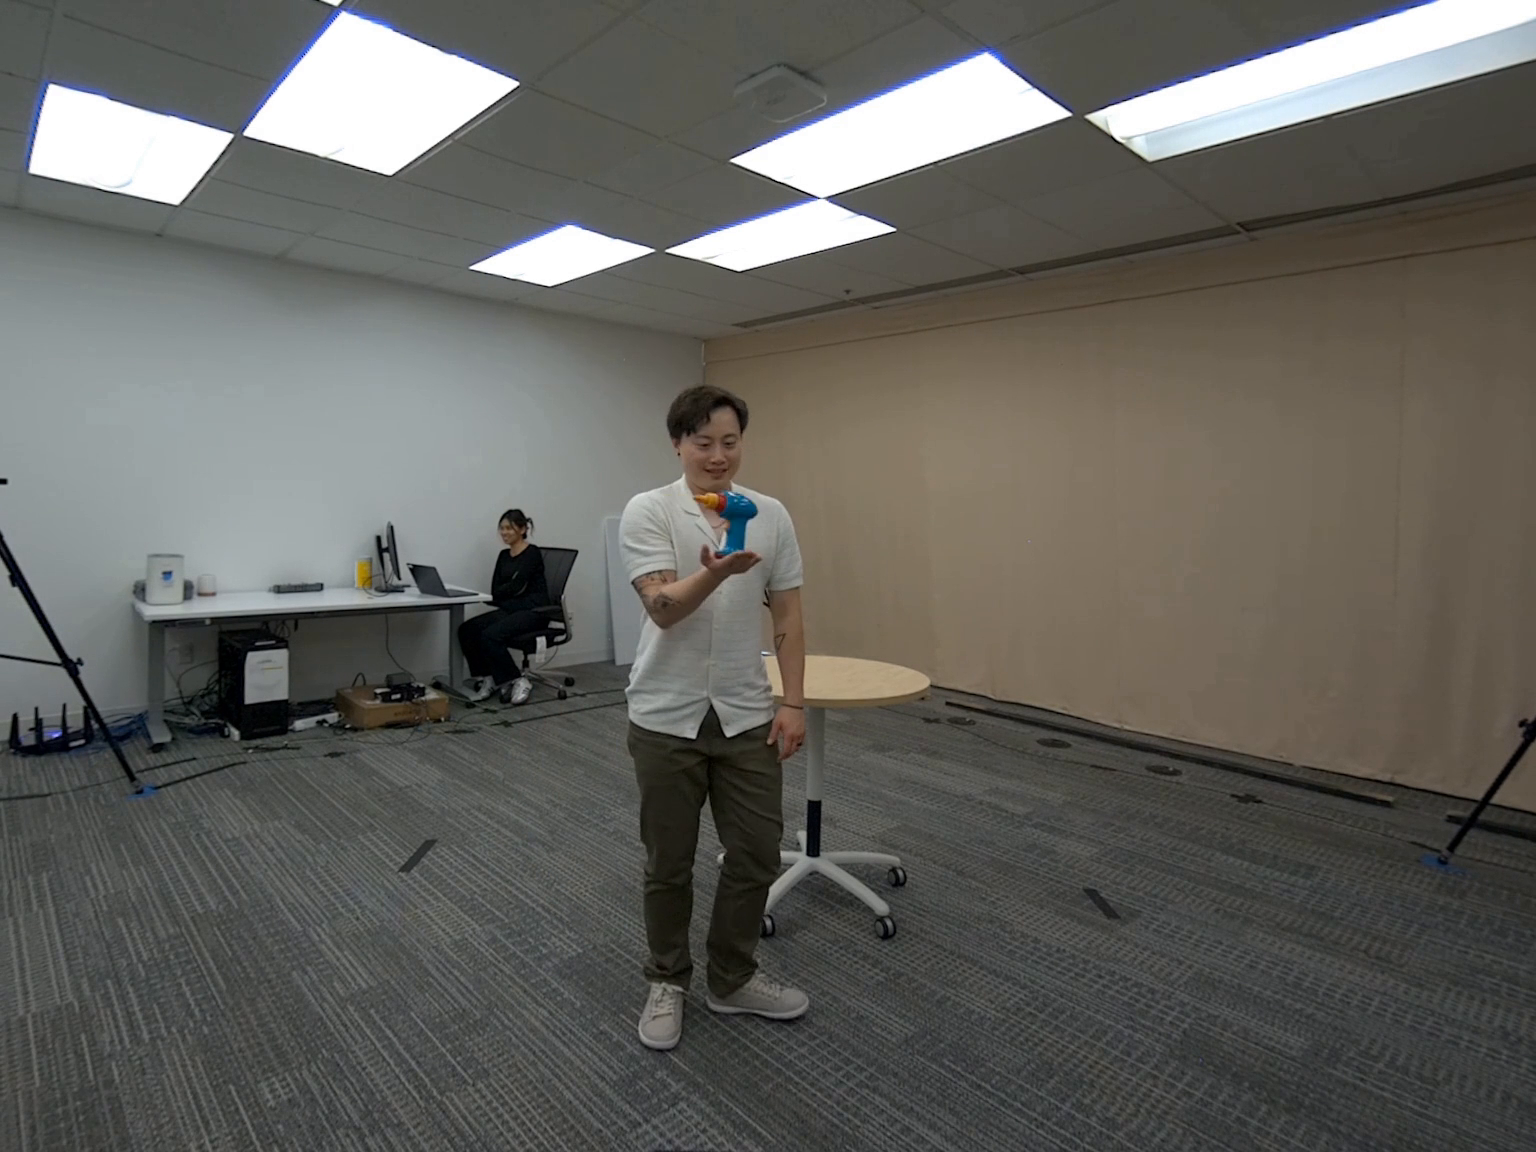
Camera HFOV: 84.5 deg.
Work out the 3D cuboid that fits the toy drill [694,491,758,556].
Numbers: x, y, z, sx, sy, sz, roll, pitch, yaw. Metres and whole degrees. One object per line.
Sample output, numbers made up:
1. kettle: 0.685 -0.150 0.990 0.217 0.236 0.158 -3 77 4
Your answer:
1. toy drill: -0.098 -0.112 1.811 0.165 0.146 0.063 12 -5 -42
